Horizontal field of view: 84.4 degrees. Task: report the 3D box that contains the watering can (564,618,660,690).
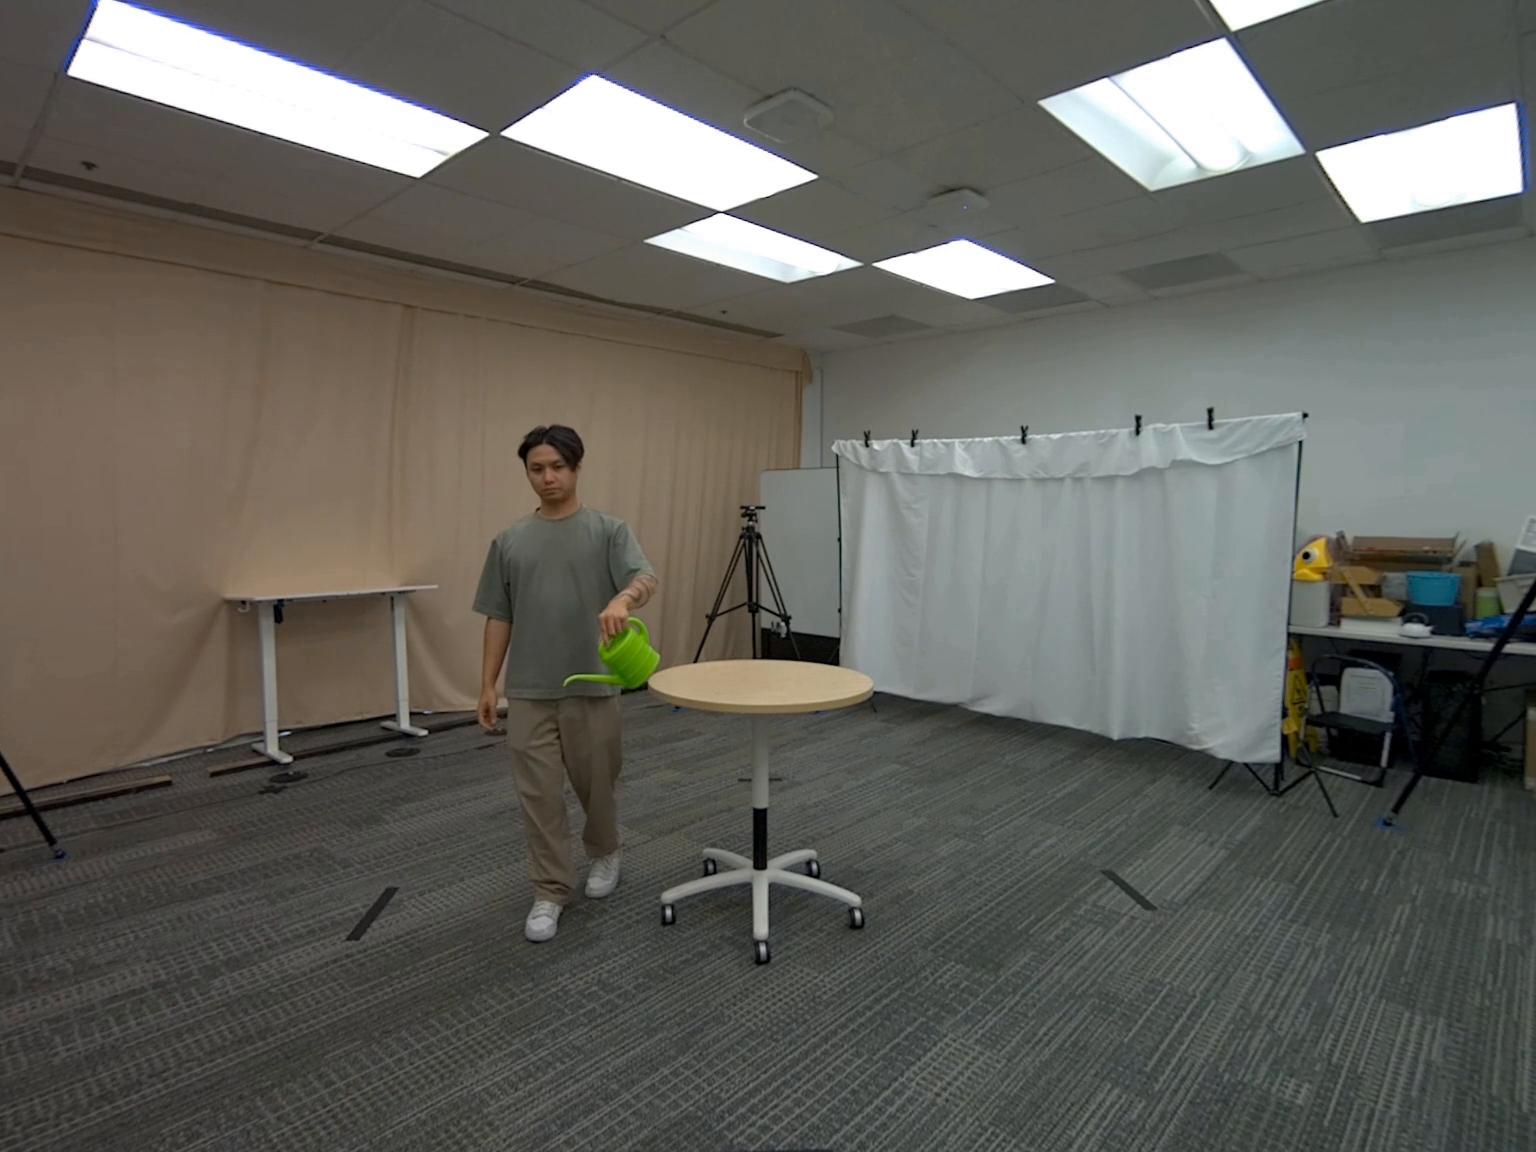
[{"bbox_3d":[-0.443,0.258,2.432,0.277,0.172,0.101,-45,25,-8],"label":"watering can"}]
